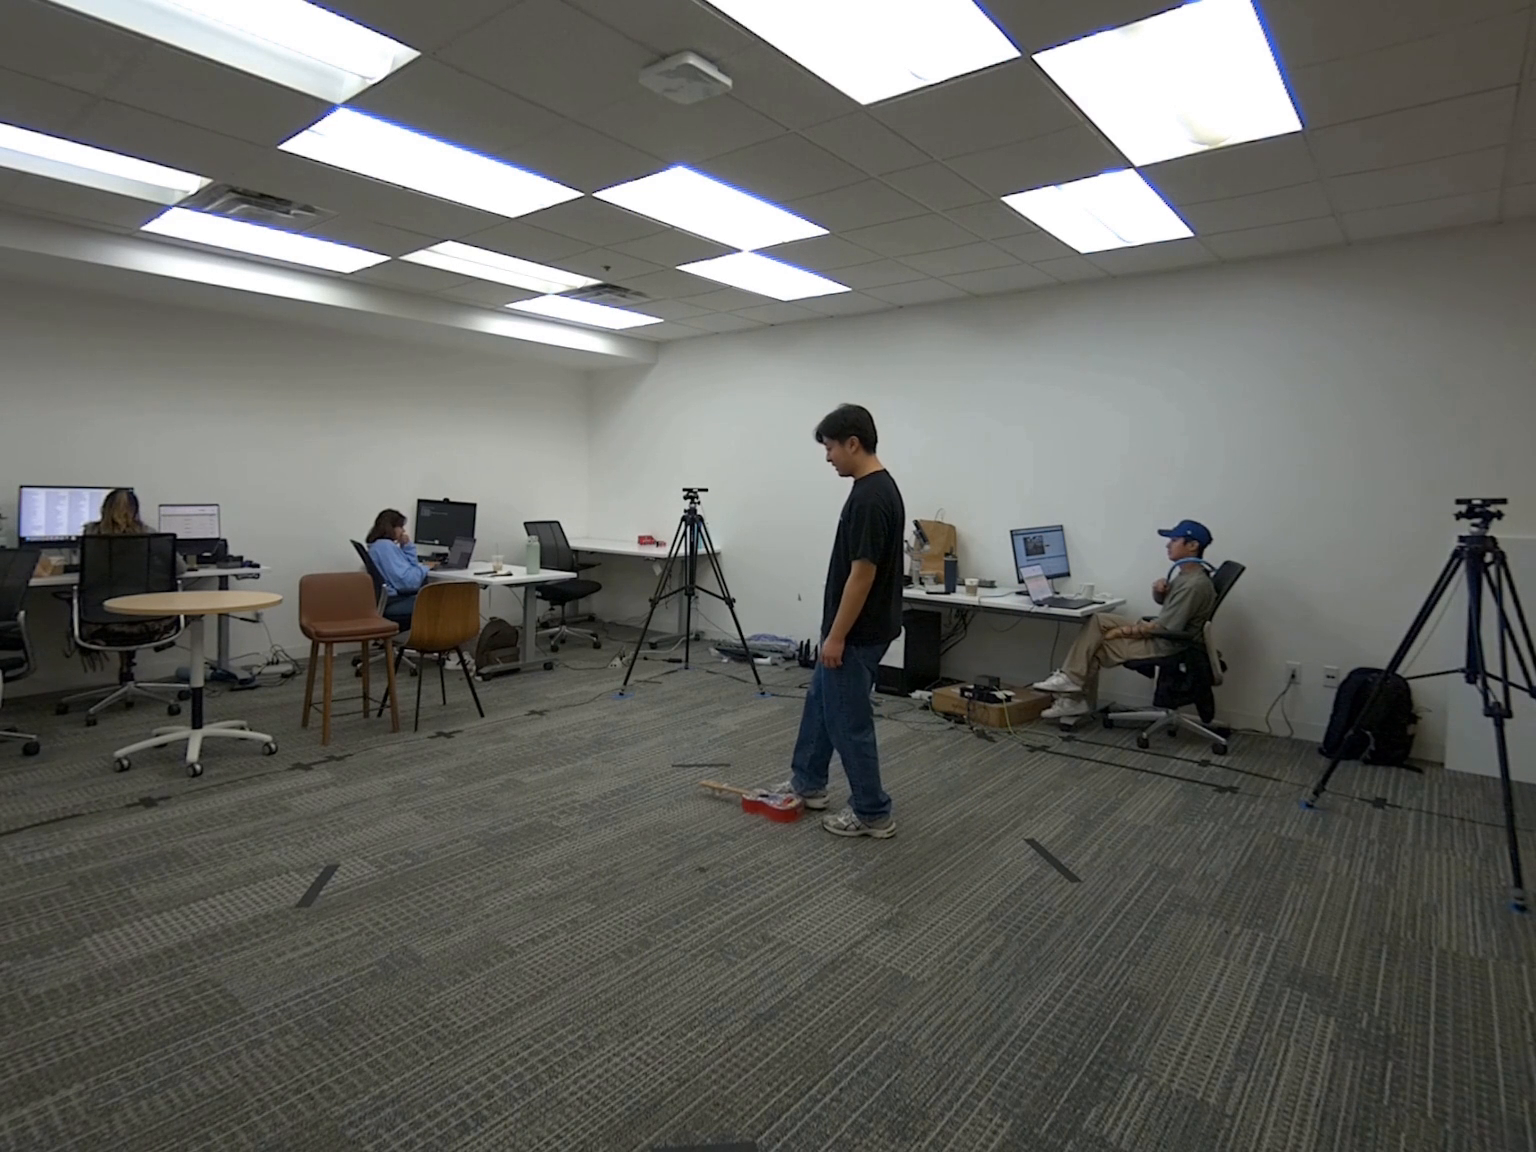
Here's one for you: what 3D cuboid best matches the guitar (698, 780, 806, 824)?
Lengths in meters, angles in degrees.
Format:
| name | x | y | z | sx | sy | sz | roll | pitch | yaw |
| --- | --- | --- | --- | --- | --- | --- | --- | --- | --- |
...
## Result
| name | x | y | z | sx | sy | sz | roll | pitch | yaw |
| --- | --- | --- | --- | --- | --- | --- | --- | --- | --- |
| guitar | -0.078 | 0.974 | 3.773 | 0.515 | 0.070 | 0.187 | 6 | 8 | 38 |
